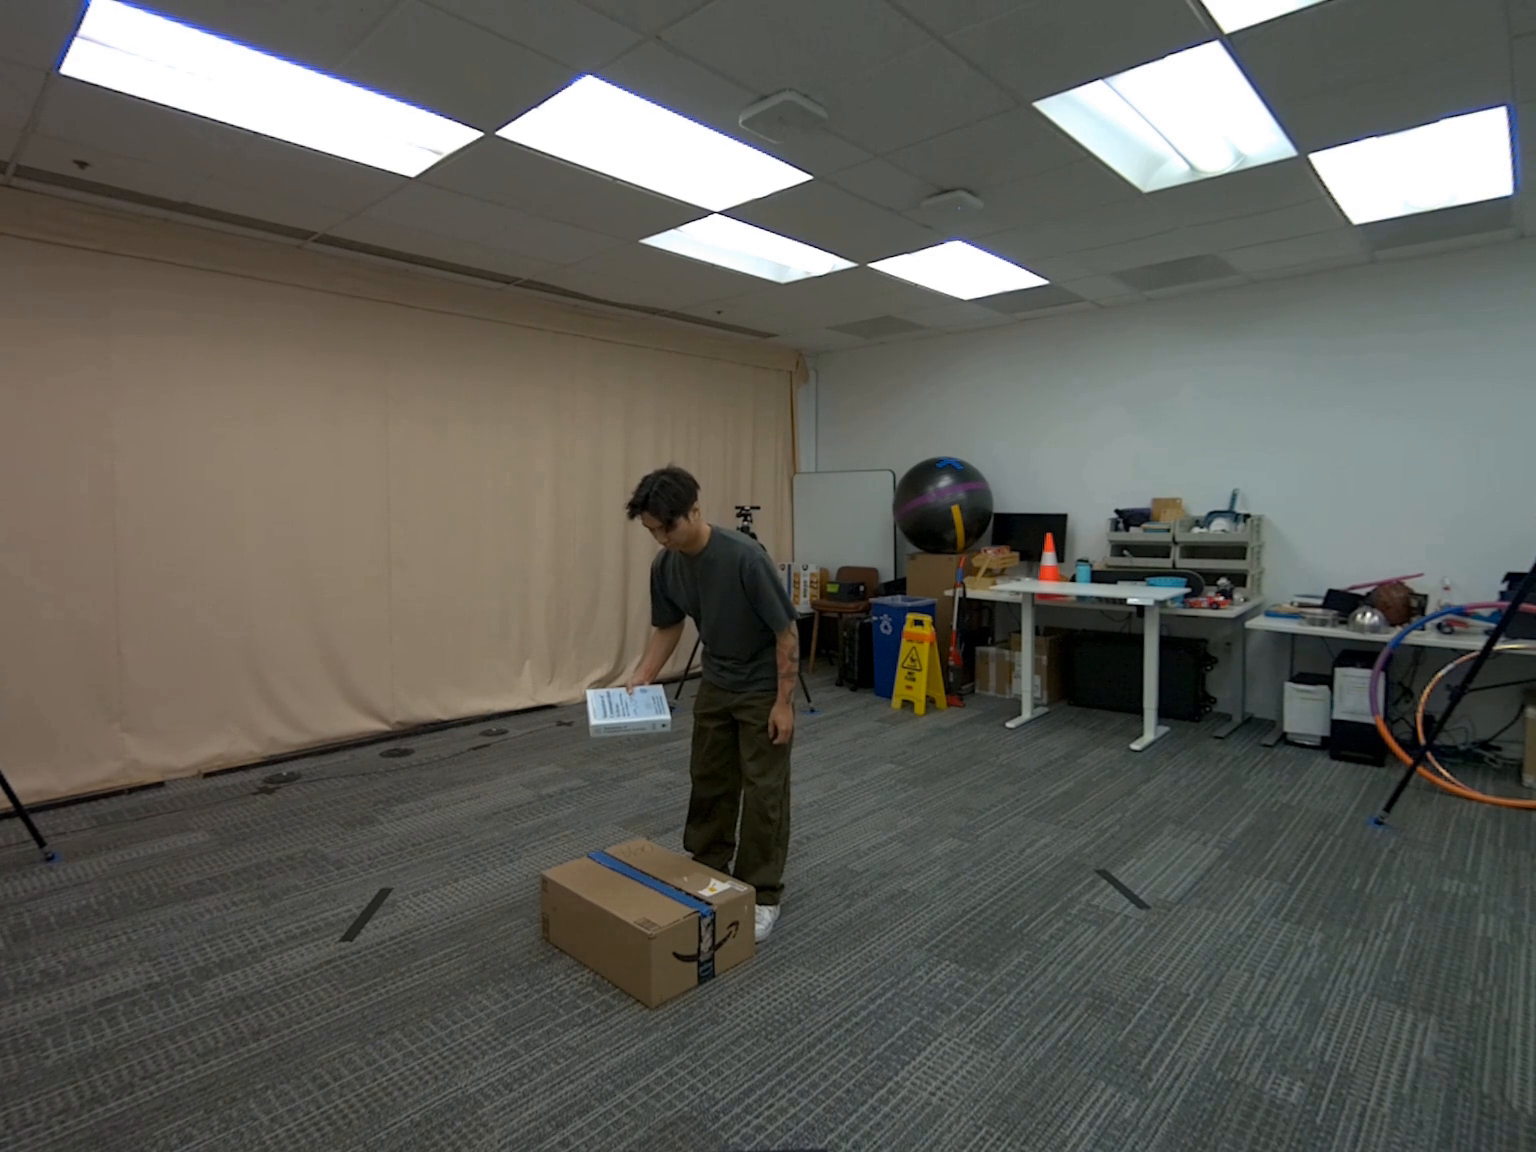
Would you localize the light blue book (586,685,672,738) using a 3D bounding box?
[{"bbox_3d":[-0.472,0.449,2.810,0.259,0.058,0.195,0,23,-6],"label":"light blue book"}]
